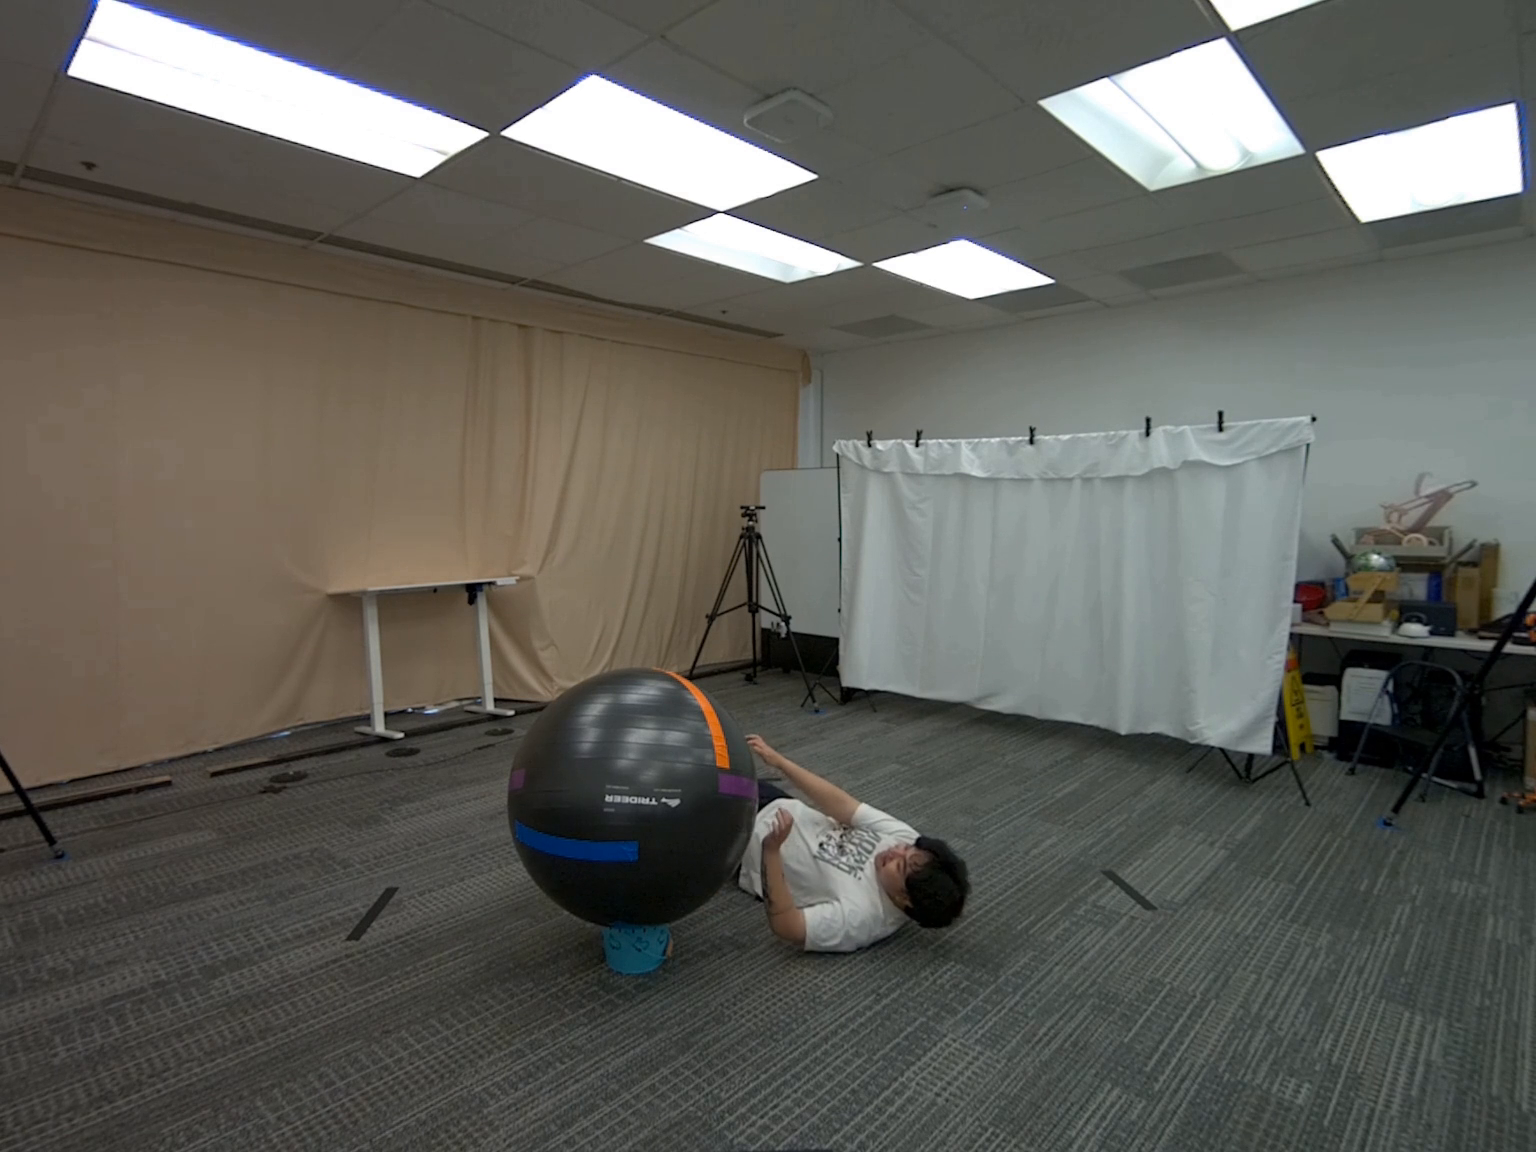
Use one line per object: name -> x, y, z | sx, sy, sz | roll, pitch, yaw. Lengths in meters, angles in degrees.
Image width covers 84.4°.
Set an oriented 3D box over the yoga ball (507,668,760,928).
yoga ball -> -0.420, 0.669, 2.579 | 0.757, 0.756, 0.761 | 0, 4, -2
